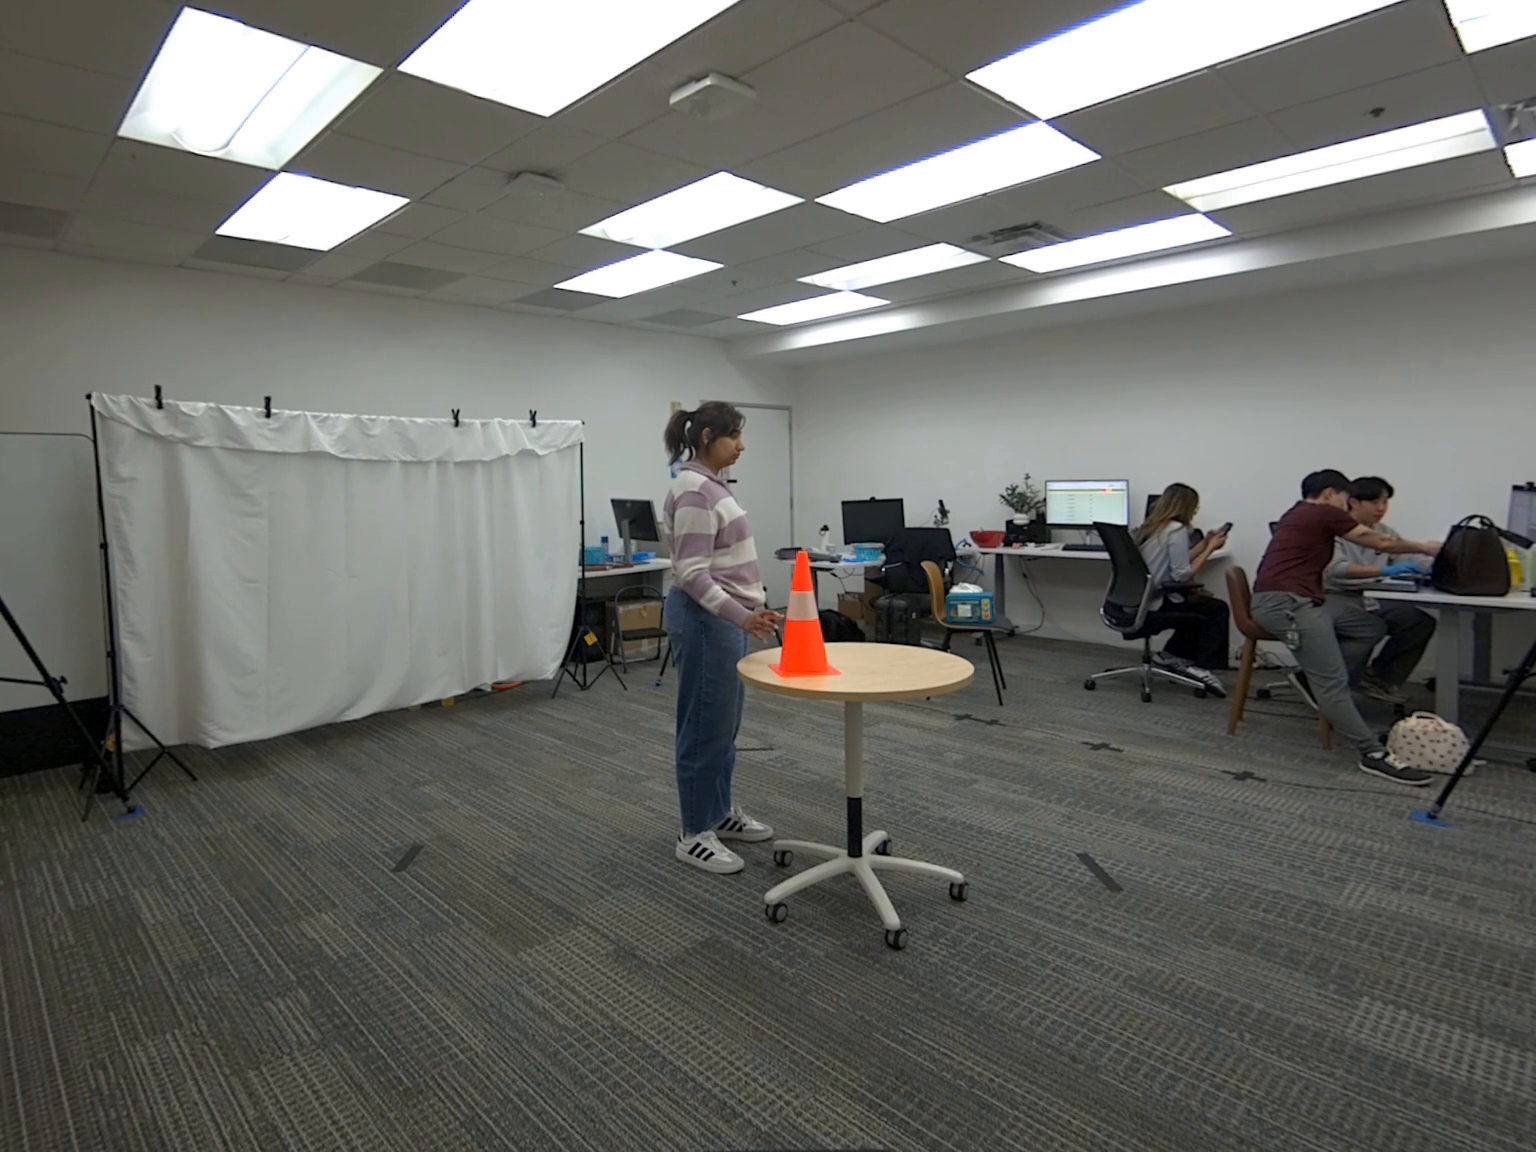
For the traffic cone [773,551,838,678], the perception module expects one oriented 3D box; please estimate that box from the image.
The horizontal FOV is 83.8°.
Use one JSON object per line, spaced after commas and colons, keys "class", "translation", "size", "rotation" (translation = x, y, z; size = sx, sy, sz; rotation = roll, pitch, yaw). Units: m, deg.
{"class": "traffic cone", "translation": [0.107, 0.117, 2.731], "size": [0.202, 0.382, 0.207], "rotation": [-4, 4, -16]}
